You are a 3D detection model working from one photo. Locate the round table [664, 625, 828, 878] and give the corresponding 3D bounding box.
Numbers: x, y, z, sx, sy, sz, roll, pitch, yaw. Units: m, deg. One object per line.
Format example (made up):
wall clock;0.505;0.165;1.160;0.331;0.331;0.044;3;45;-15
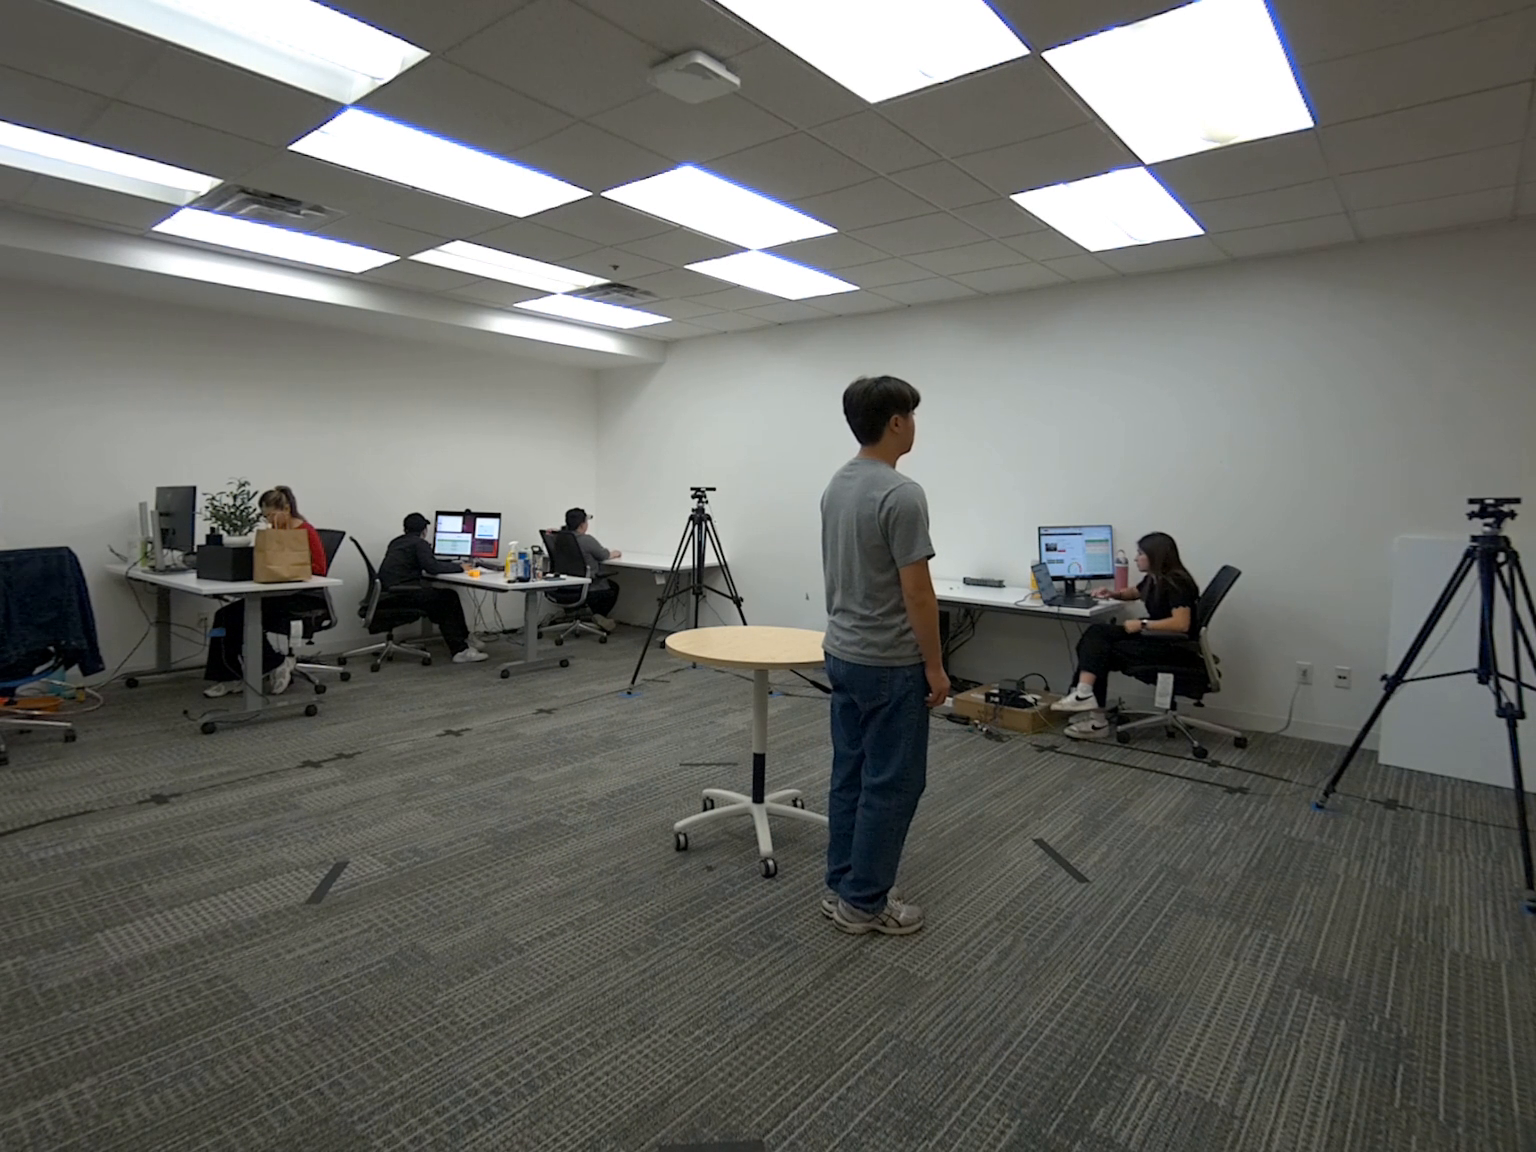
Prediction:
round table;-0.045;0.653;3.382;0.763;0.792;0.767;1;4;-2
